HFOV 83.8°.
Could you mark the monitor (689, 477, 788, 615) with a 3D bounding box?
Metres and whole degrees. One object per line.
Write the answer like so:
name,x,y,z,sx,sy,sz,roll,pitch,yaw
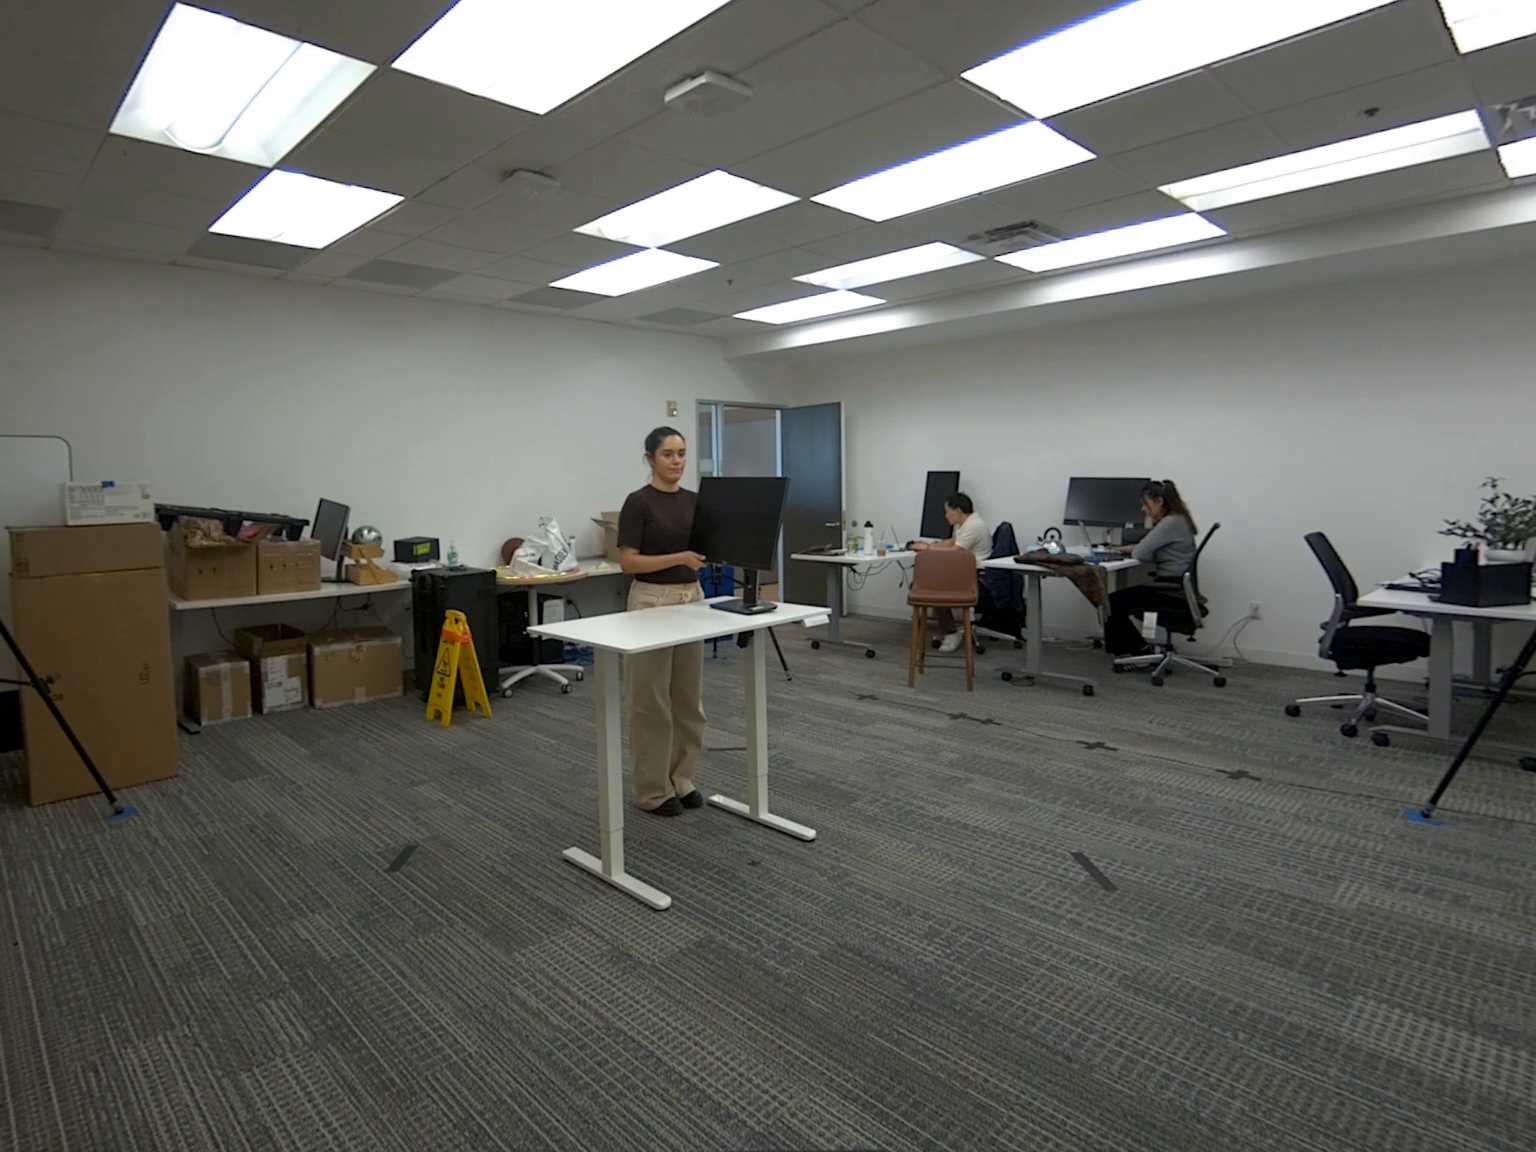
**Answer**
monitor,-0.101,-0.124,3.346,0.182,0.520,0.556,-4,6,-40
